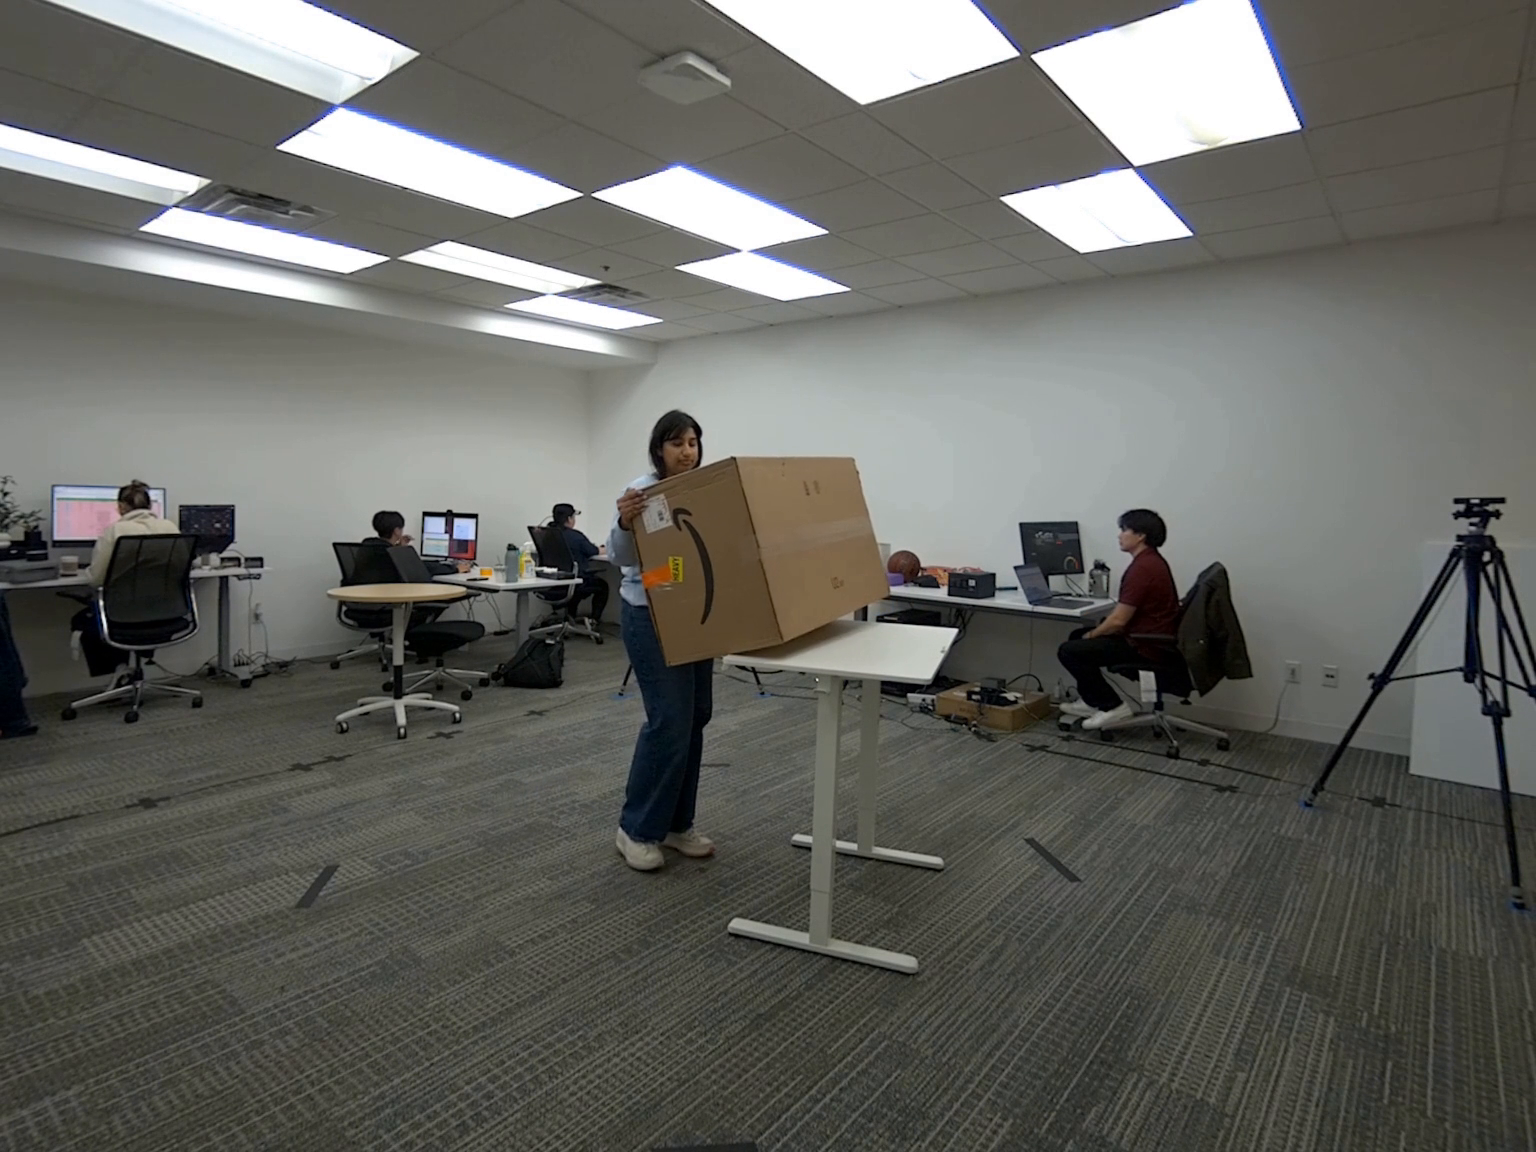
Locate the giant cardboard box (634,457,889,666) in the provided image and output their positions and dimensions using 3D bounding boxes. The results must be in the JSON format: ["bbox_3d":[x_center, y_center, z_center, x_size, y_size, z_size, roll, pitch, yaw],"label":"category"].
[{"bbox_3d":[0.007,-0.092,3.038,0.434,0.579,1.003,-16,-1,29],"label":"giant cardboard box"}]
